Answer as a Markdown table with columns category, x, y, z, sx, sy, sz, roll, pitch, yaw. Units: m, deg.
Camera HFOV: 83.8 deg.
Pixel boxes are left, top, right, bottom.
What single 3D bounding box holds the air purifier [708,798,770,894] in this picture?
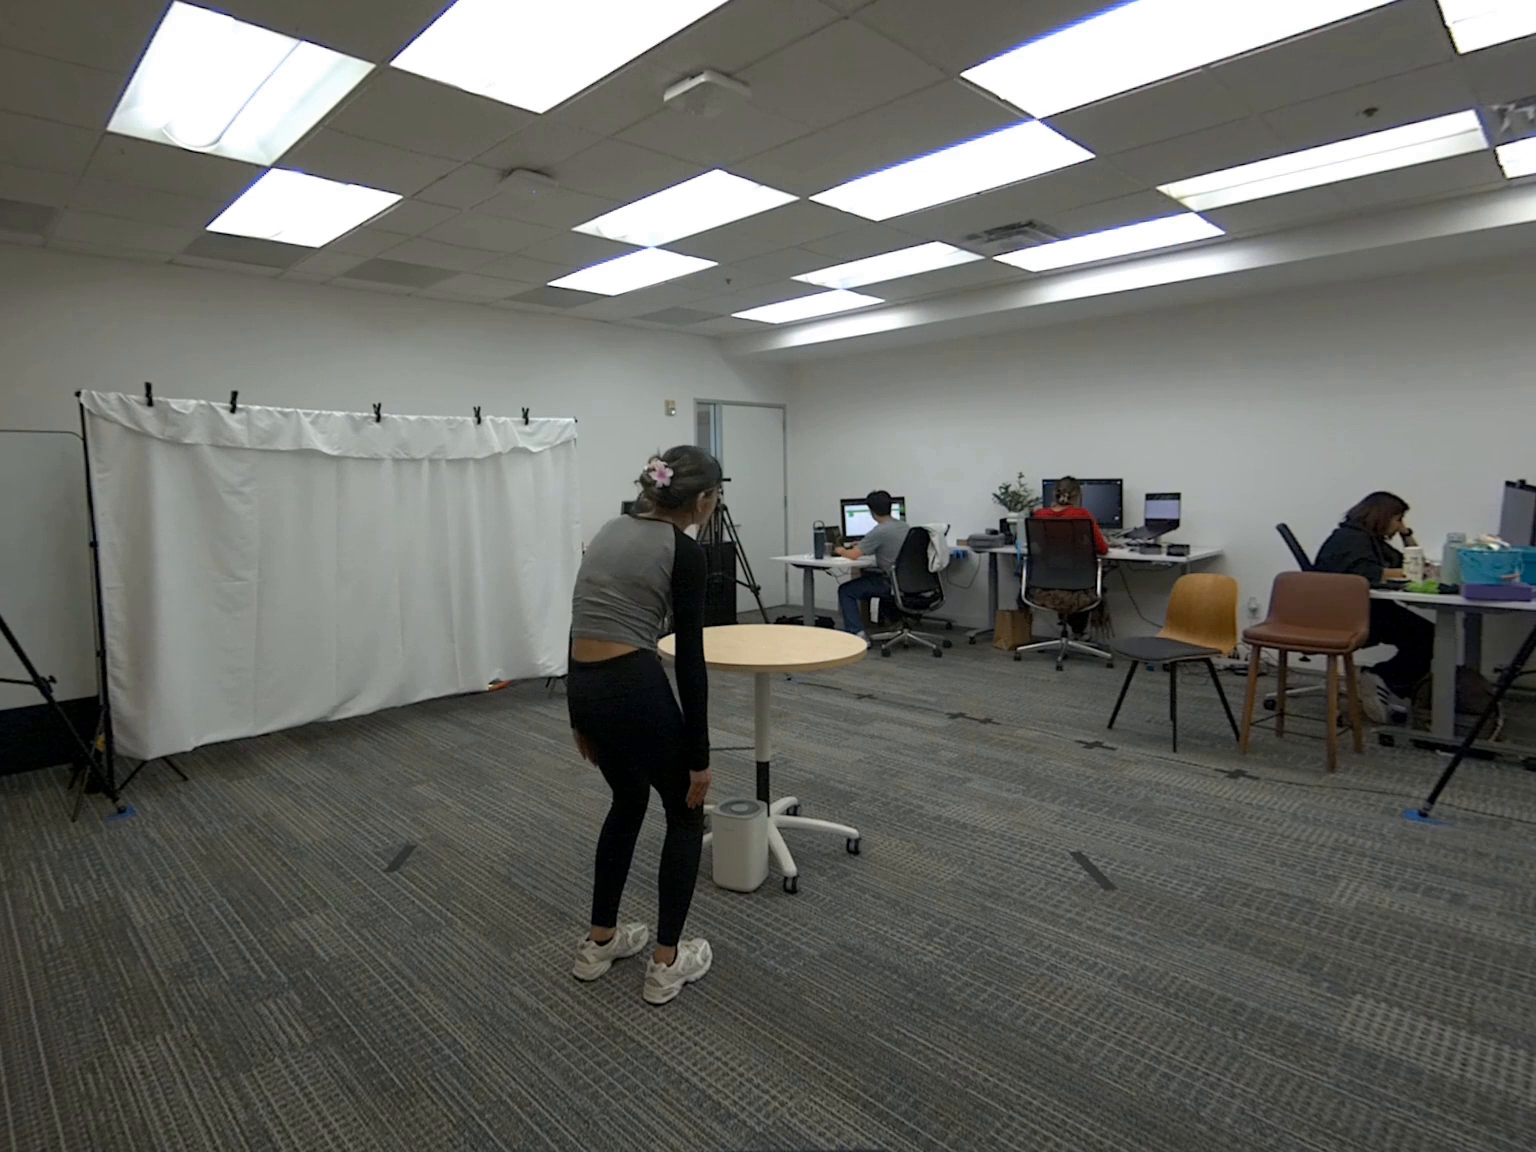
| category | x | y | z | sx | sy | sz | roll | pitch | yaw |
| --- | --- | --- | --- | --- | --- | --- | --- | --- | --- |
| air purifier | -0.090 | 0.925 | 2.951 | 0.175 | 0.264 | 0.168 | 0 | 4 | 23 |
